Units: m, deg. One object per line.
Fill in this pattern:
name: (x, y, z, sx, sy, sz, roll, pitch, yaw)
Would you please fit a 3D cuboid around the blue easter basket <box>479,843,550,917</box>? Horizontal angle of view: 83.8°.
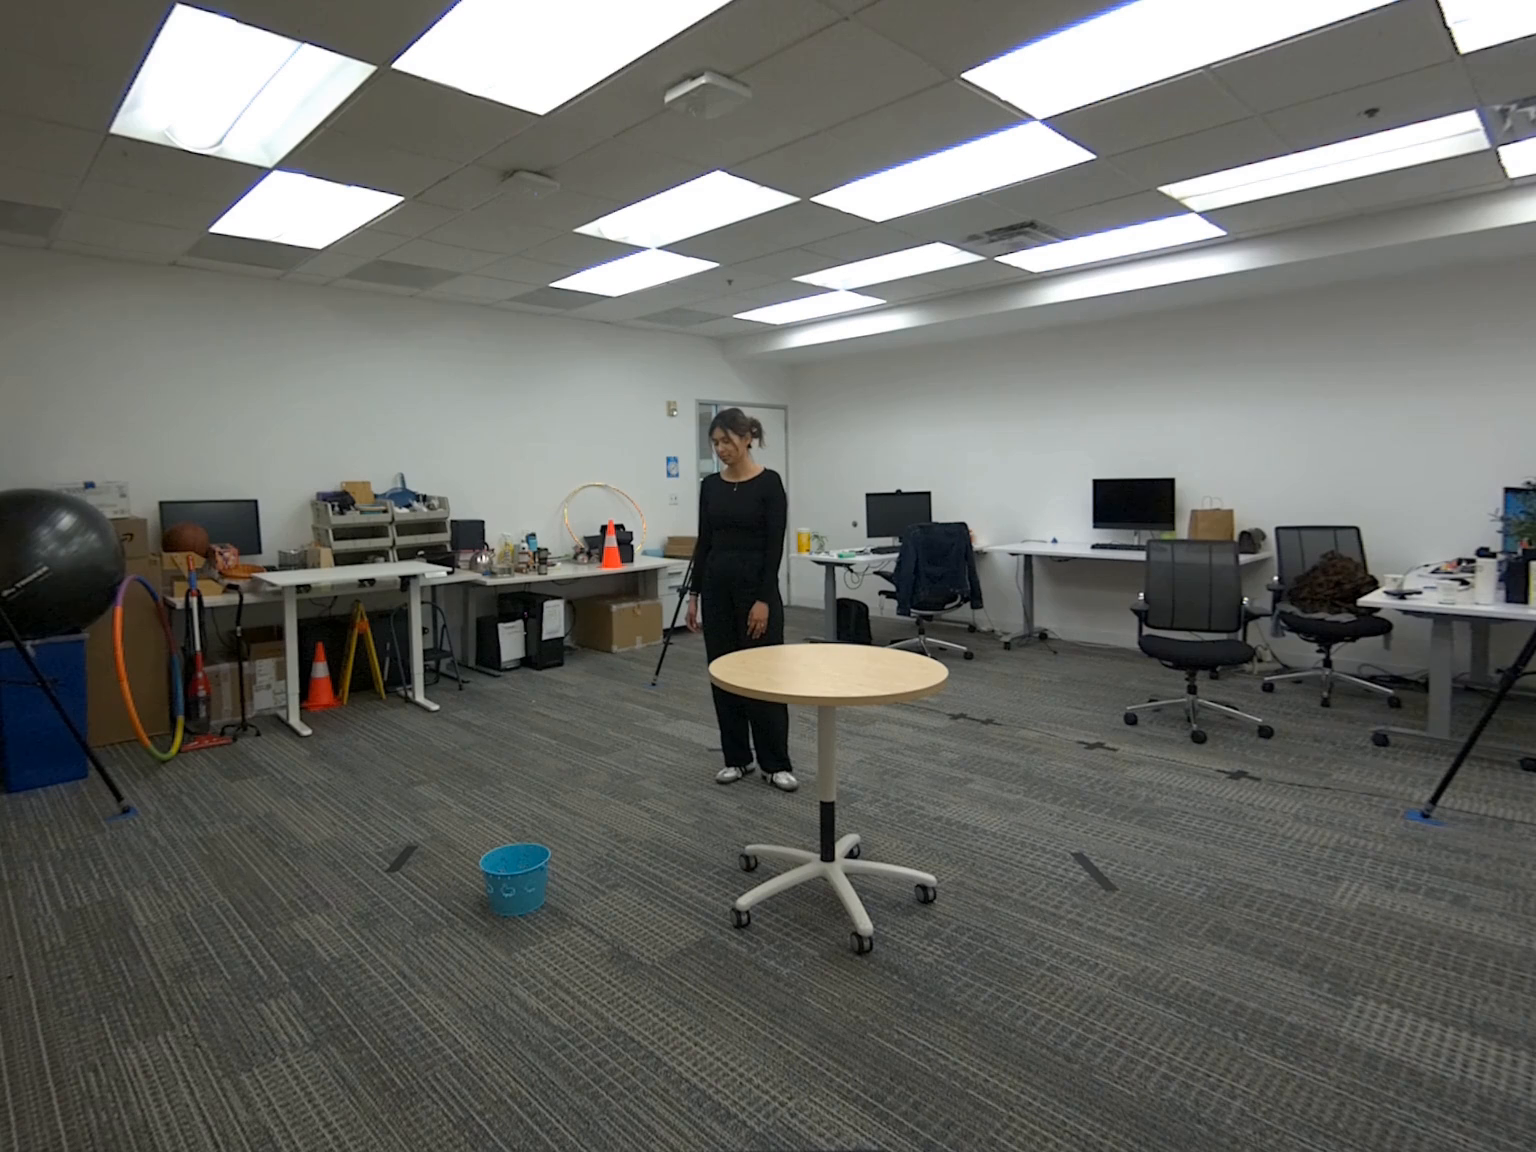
blue easter basket: (-0.836, 1.014, 2.855, 0.243, 0.155, 0.245, -1, 6, -2)
